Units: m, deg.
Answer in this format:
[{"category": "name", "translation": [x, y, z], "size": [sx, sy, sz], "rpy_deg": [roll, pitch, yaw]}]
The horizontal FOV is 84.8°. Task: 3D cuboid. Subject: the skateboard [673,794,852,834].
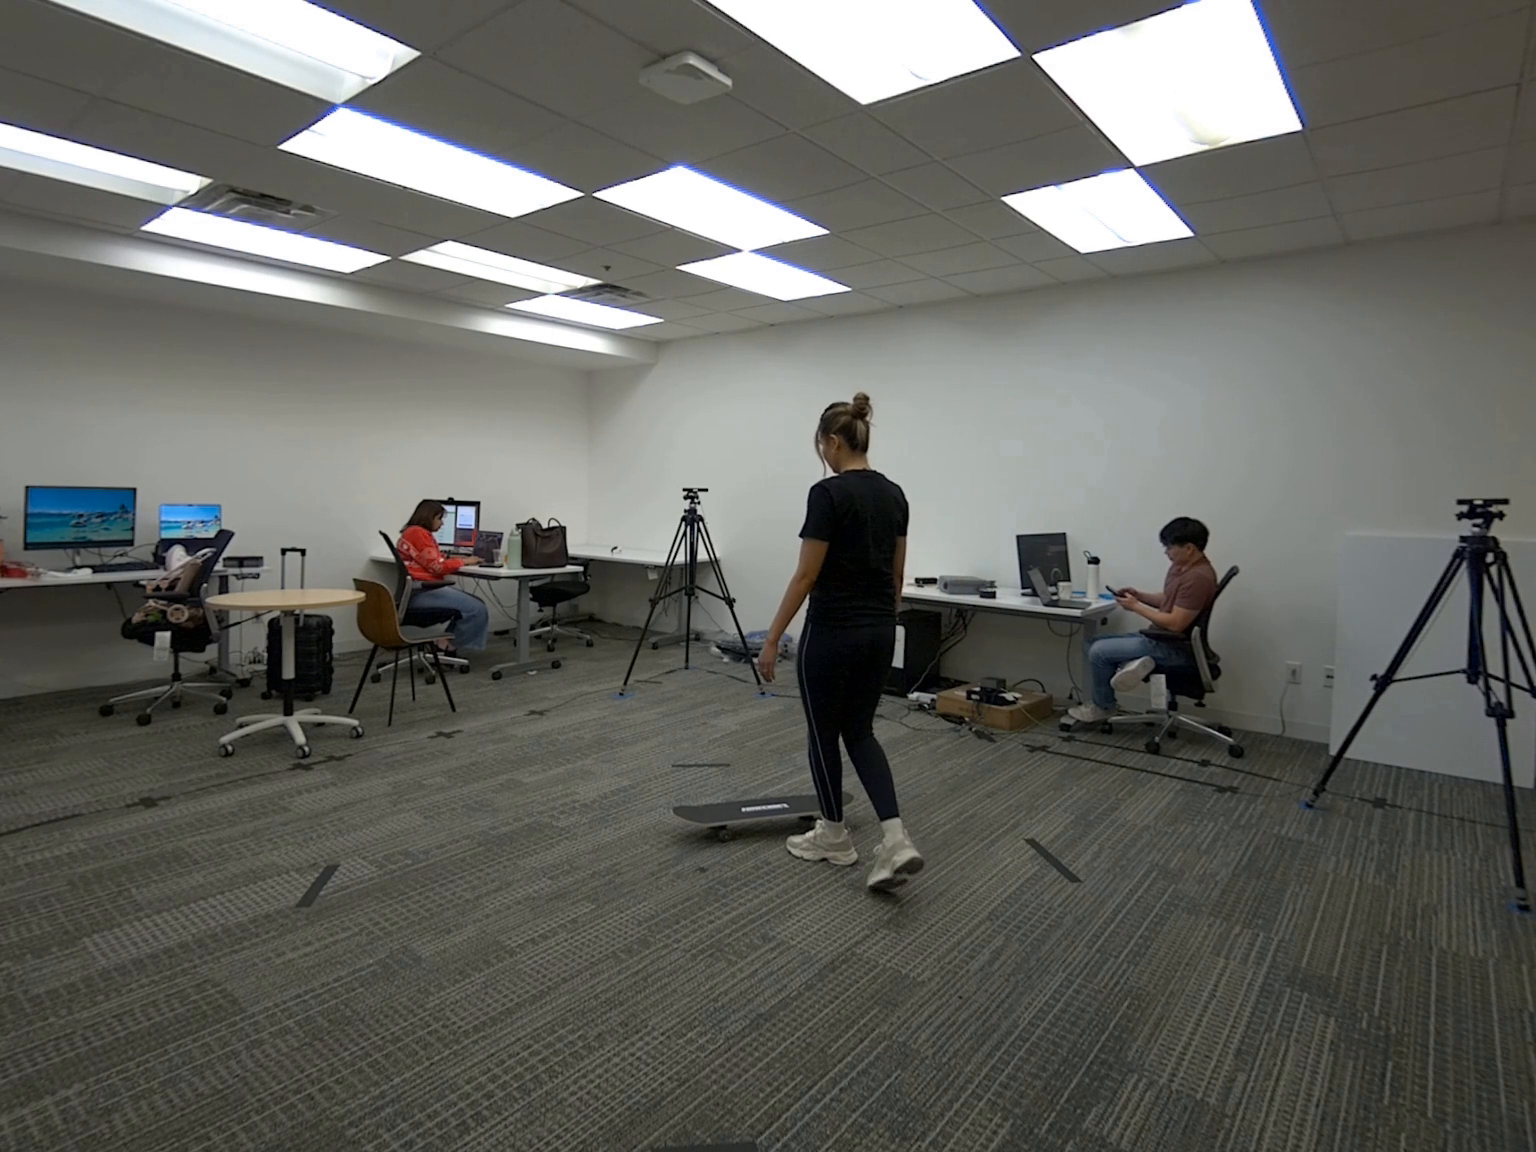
[{"category": "skateboard", "translation": [-0.027, 0.979, 3.496], "size": [0.771, 0.110, 0.198], "rpy_deg": [-1, 5, -18]}]
